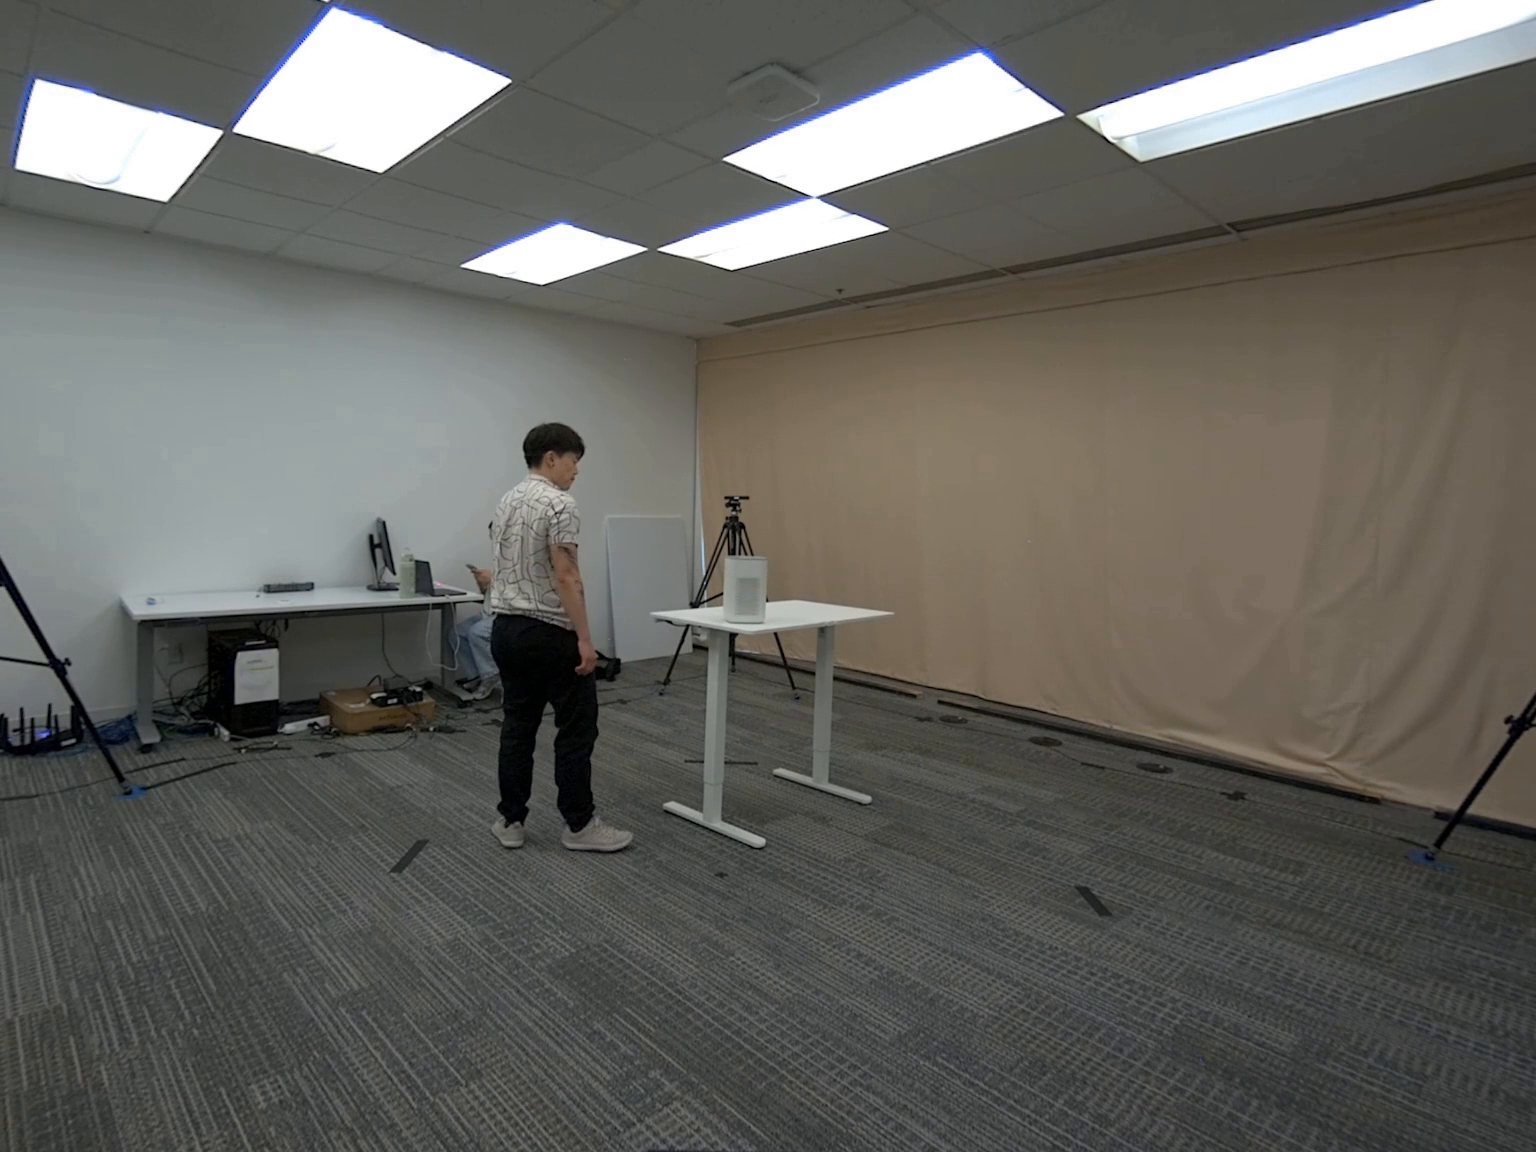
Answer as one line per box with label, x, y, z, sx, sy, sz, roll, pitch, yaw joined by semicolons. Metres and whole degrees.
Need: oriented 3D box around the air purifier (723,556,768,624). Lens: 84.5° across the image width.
air purifier;-0.106;0.056;3.471;0.171;0.265;0.172;1;3;-4
